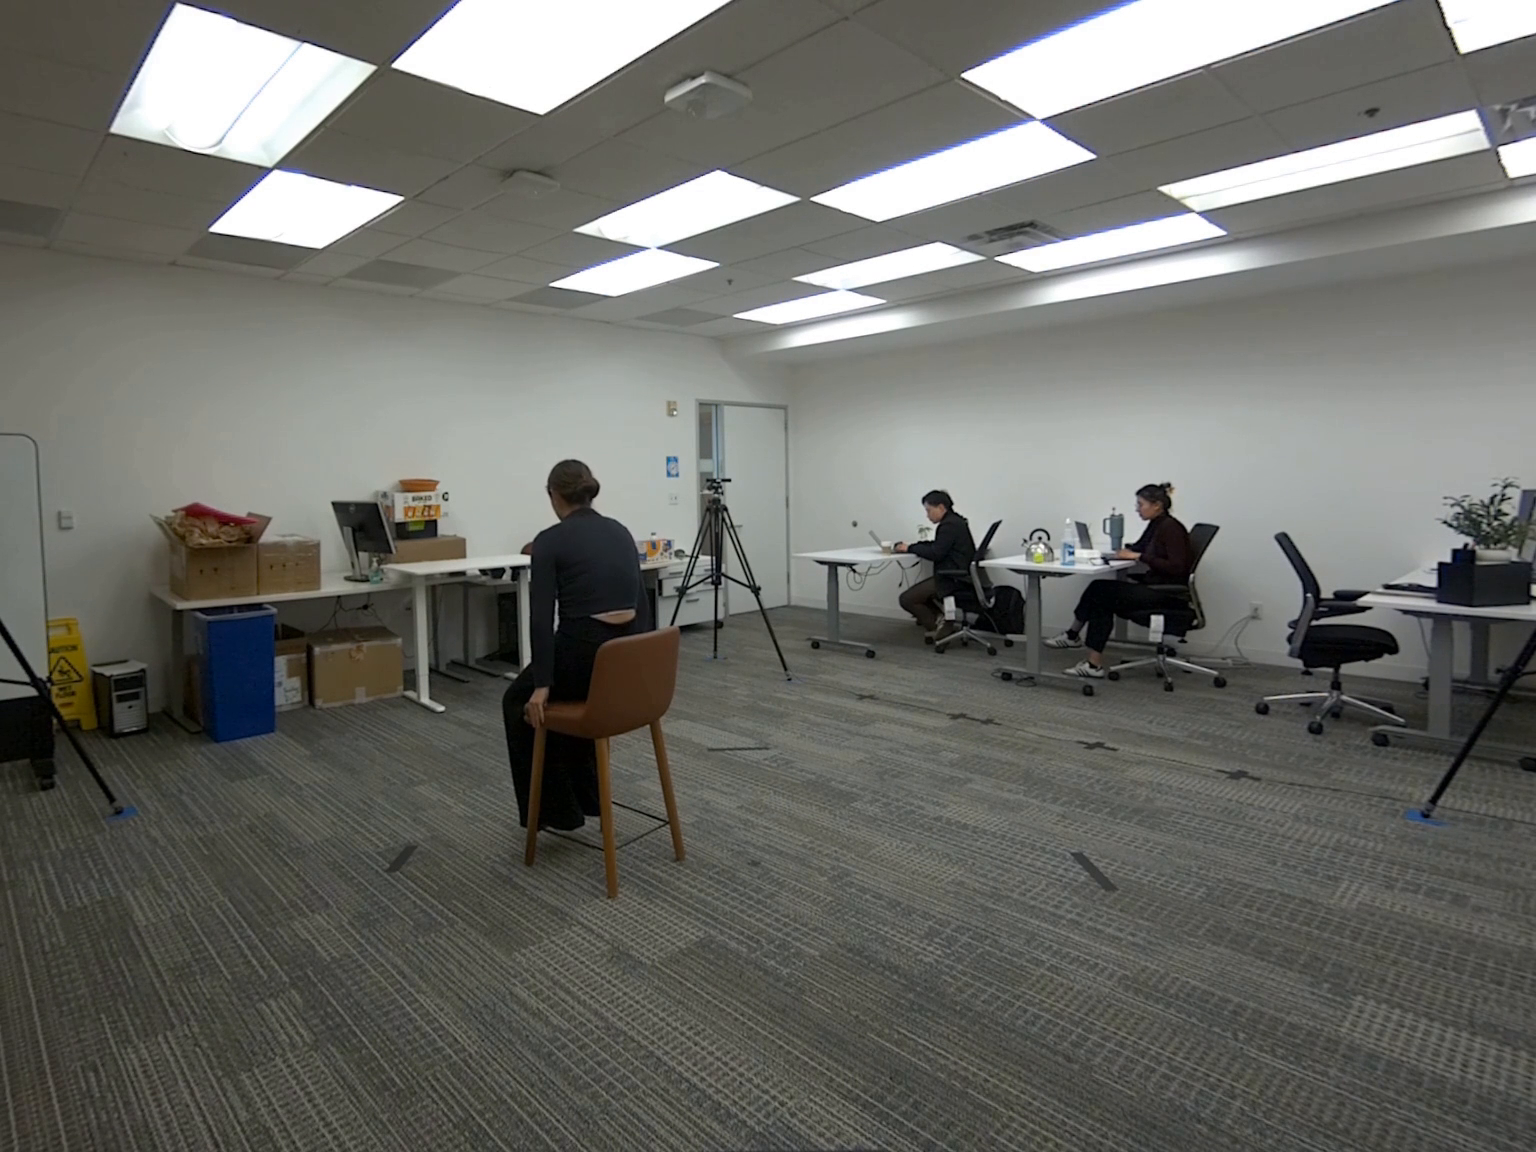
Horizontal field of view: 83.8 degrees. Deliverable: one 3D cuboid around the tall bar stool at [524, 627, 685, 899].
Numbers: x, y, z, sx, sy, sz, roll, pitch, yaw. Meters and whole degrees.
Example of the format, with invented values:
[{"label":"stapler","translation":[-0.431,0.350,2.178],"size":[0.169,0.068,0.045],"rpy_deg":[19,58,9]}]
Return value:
[{"label":"tall bar stool","translation":[-0.594,0.618,3.113],"size":[0.482,0.886,0.445],"rpy_deg":[4,6,37]}]
